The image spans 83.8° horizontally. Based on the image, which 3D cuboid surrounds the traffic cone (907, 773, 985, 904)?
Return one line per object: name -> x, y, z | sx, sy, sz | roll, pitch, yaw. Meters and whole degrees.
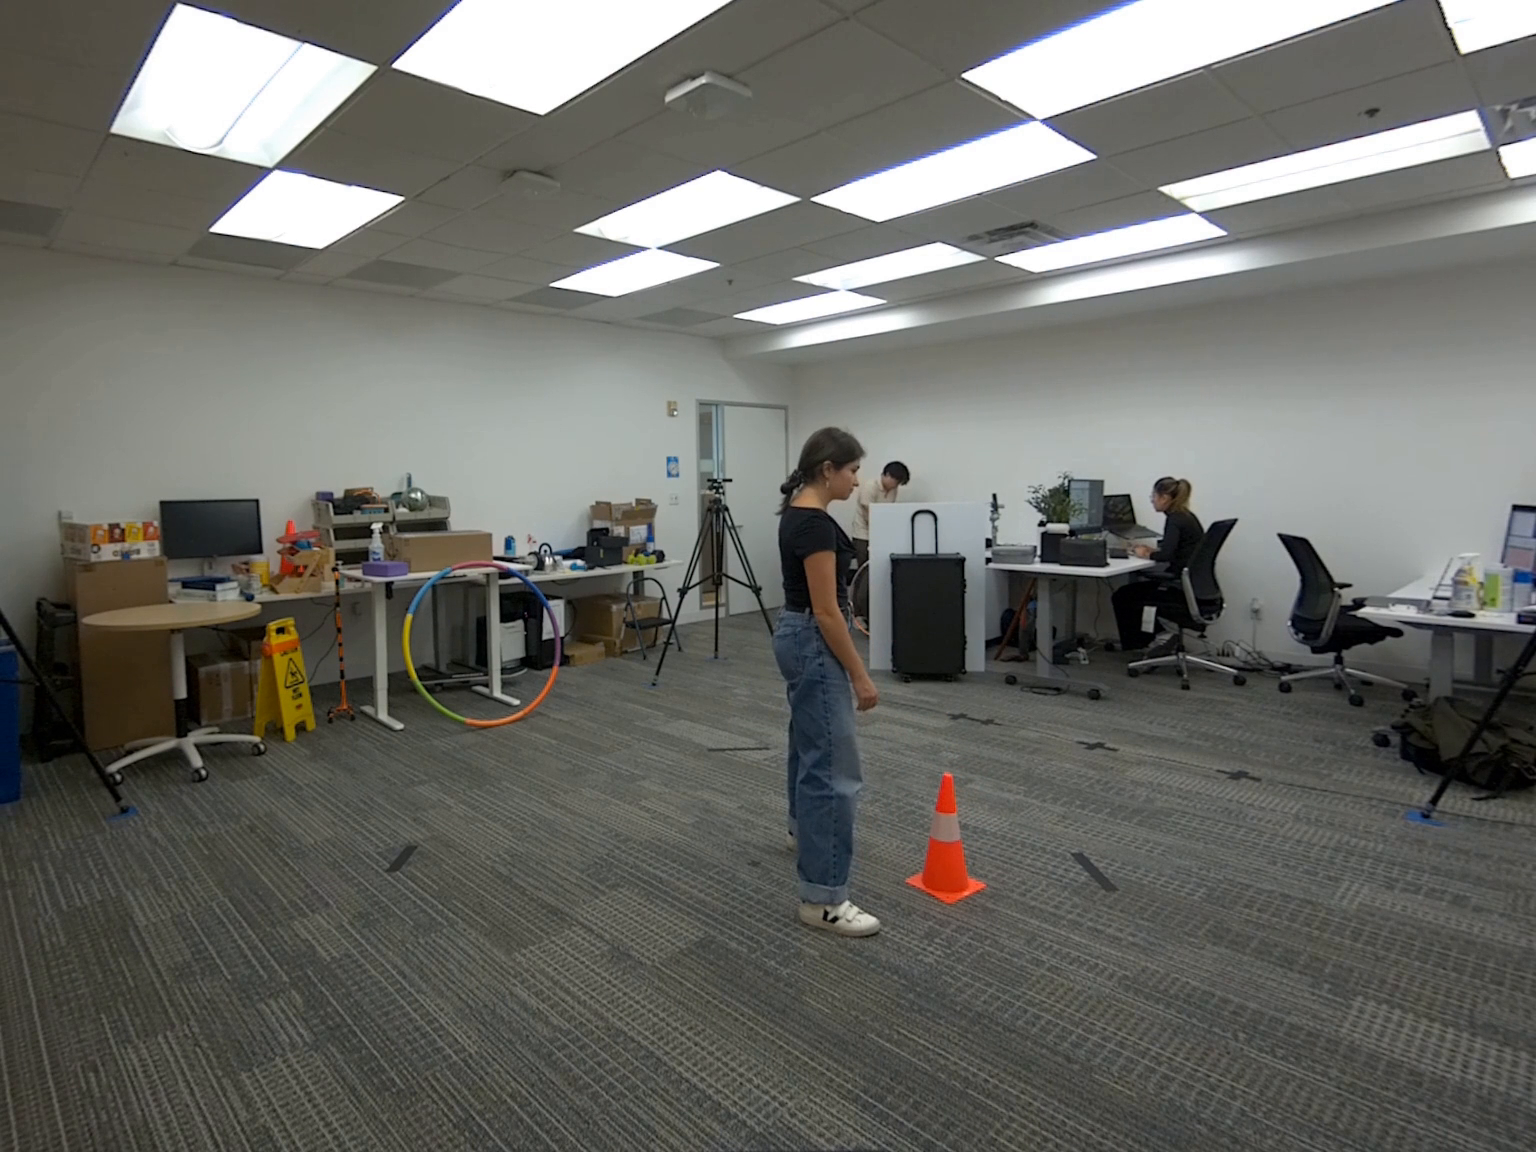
traffic cone -> 0.620, 0.871, 2.919 | 0.200, 0.382, 0.209 | -1, 5, -32
